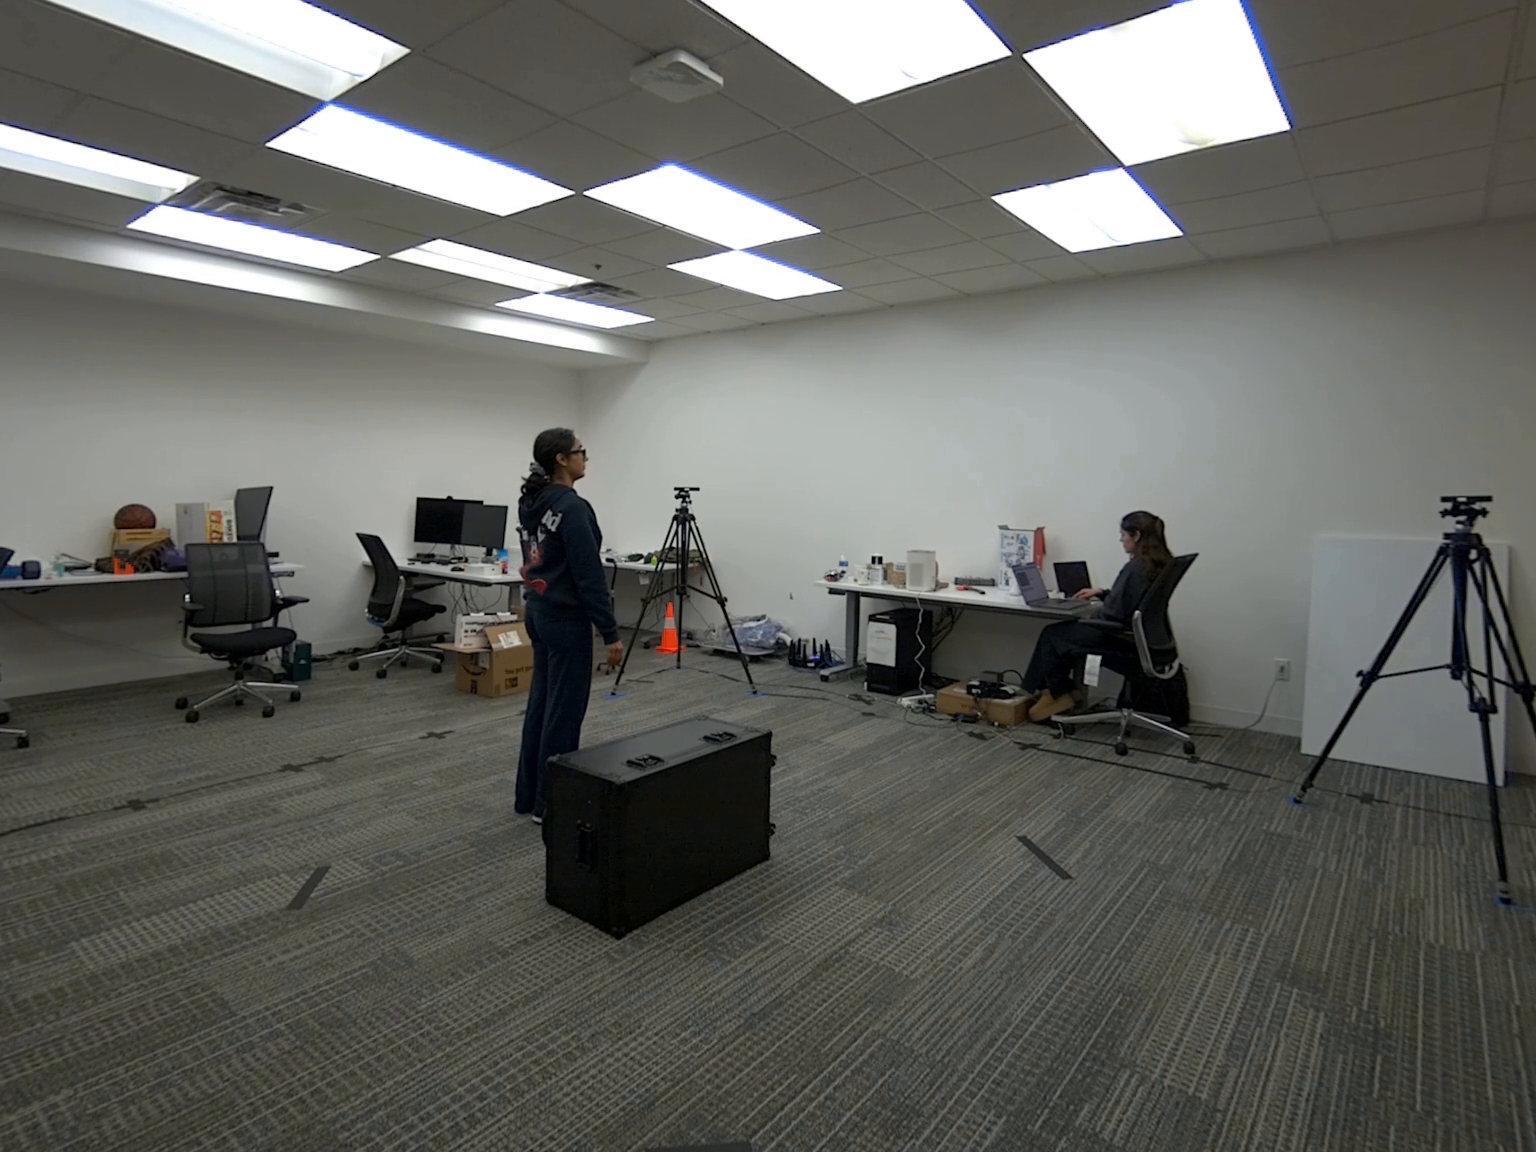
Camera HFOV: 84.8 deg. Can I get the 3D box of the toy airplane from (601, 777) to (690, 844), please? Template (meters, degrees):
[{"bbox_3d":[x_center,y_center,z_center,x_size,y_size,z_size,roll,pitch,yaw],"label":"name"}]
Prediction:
[{"bbox_3d":[-0.505,0.954,3.453,0.258,0.156,0.252,2,2,31],"label":"toy airplane"}]
